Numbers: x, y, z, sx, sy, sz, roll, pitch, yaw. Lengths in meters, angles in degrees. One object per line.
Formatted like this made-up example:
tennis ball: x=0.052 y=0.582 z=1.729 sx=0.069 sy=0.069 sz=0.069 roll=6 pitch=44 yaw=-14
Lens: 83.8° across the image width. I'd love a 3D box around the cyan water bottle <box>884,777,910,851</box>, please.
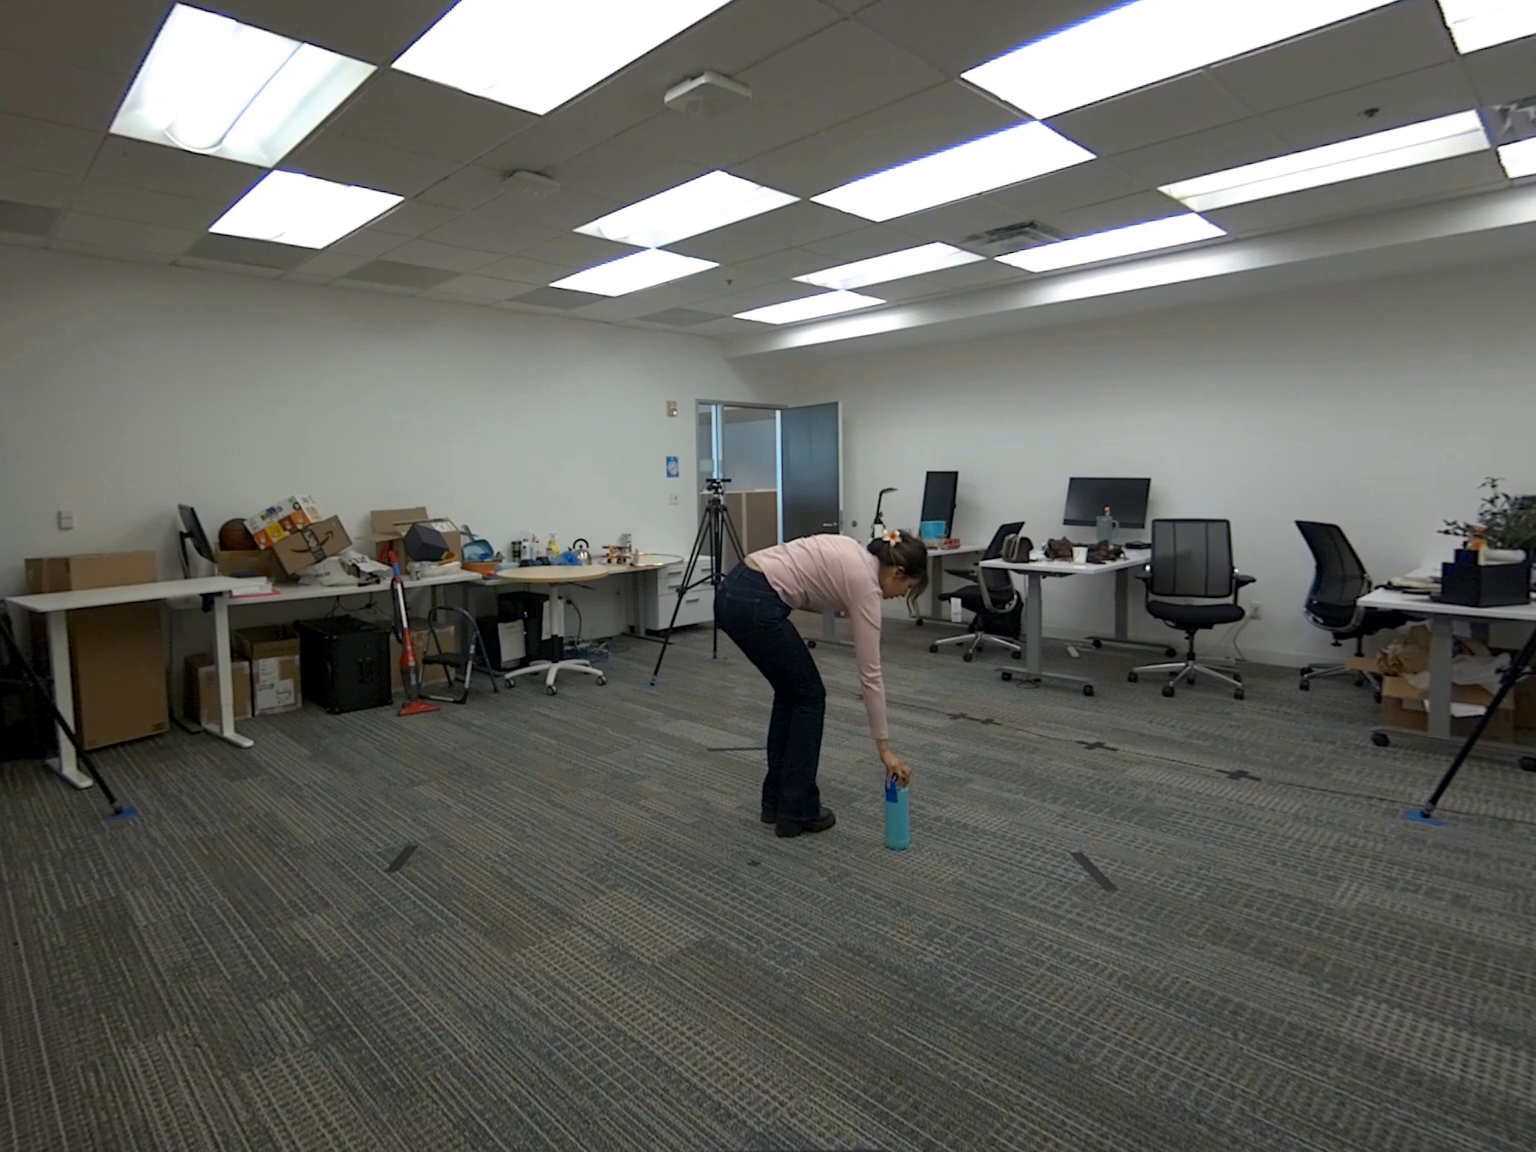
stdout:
cyan water bottle: x=0.493 y=0.871 z=3.230 sx=0.092 sy=0.283 sz=0.092 roll=-1 pitch=1 yaw=-2
